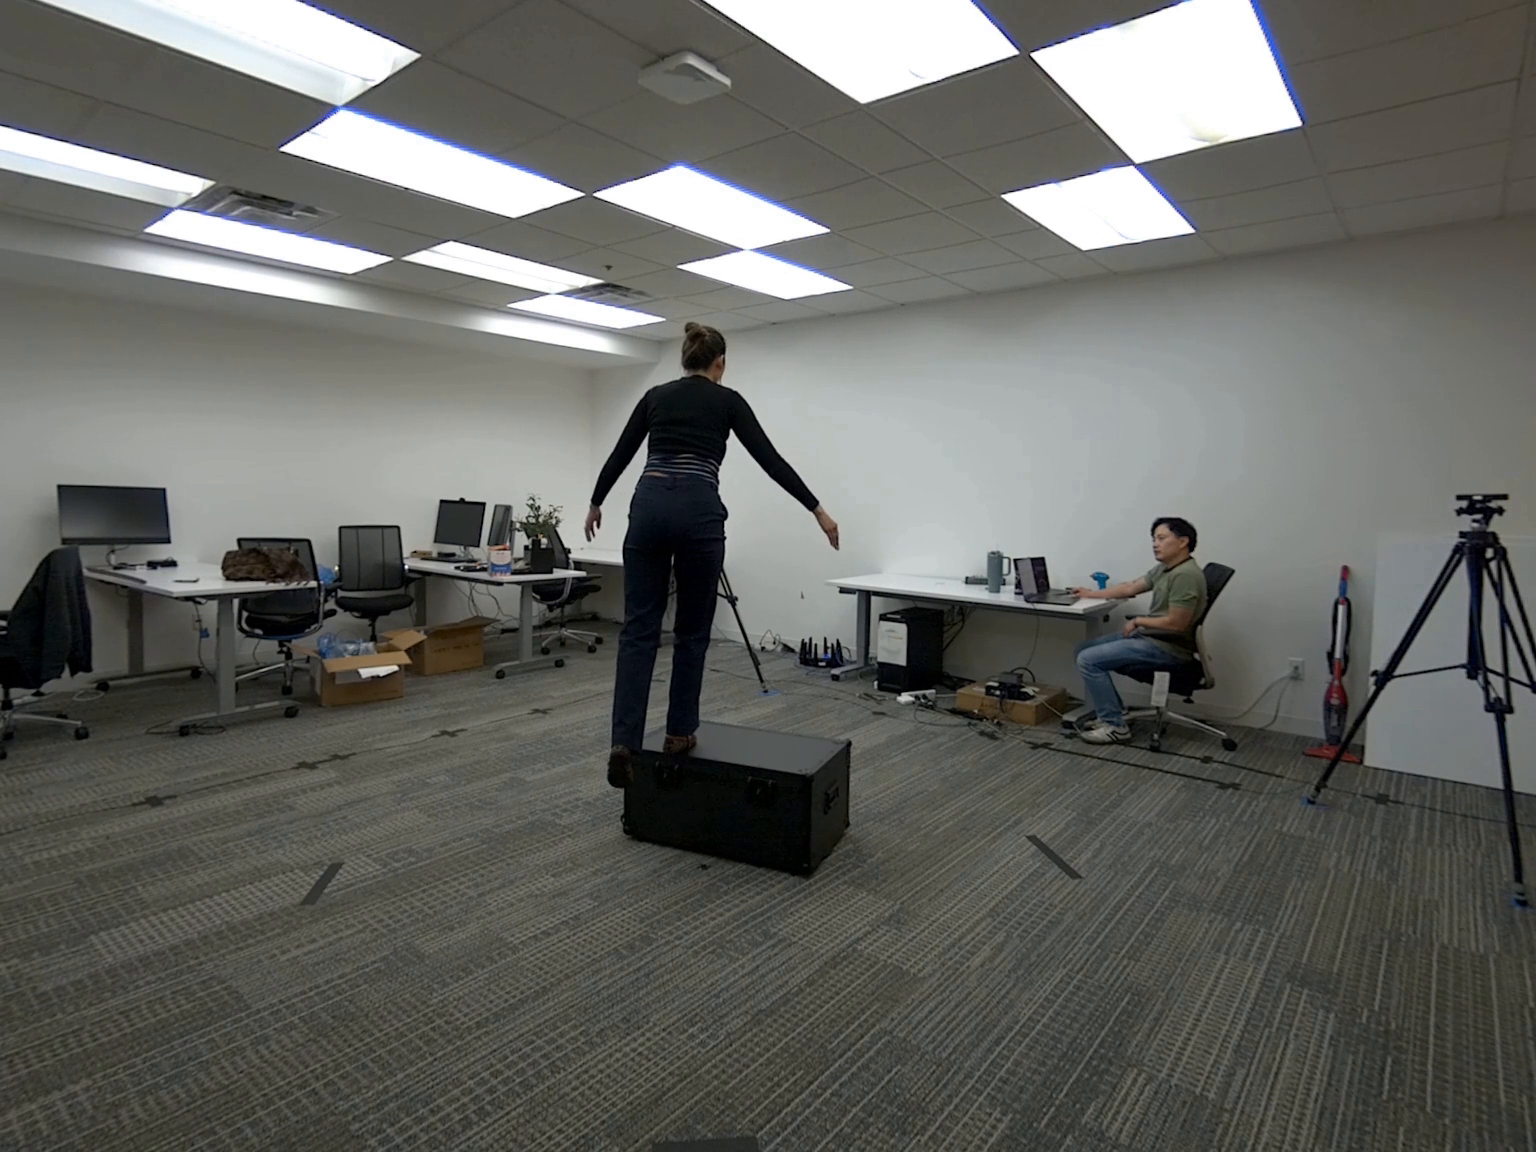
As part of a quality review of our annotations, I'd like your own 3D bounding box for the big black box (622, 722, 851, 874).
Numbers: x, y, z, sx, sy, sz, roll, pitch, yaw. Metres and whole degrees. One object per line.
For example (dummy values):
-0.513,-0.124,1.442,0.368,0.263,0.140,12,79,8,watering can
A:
-0.156,0.847,3.412,0.883,0.395,0.510,3,6,24,big black box
